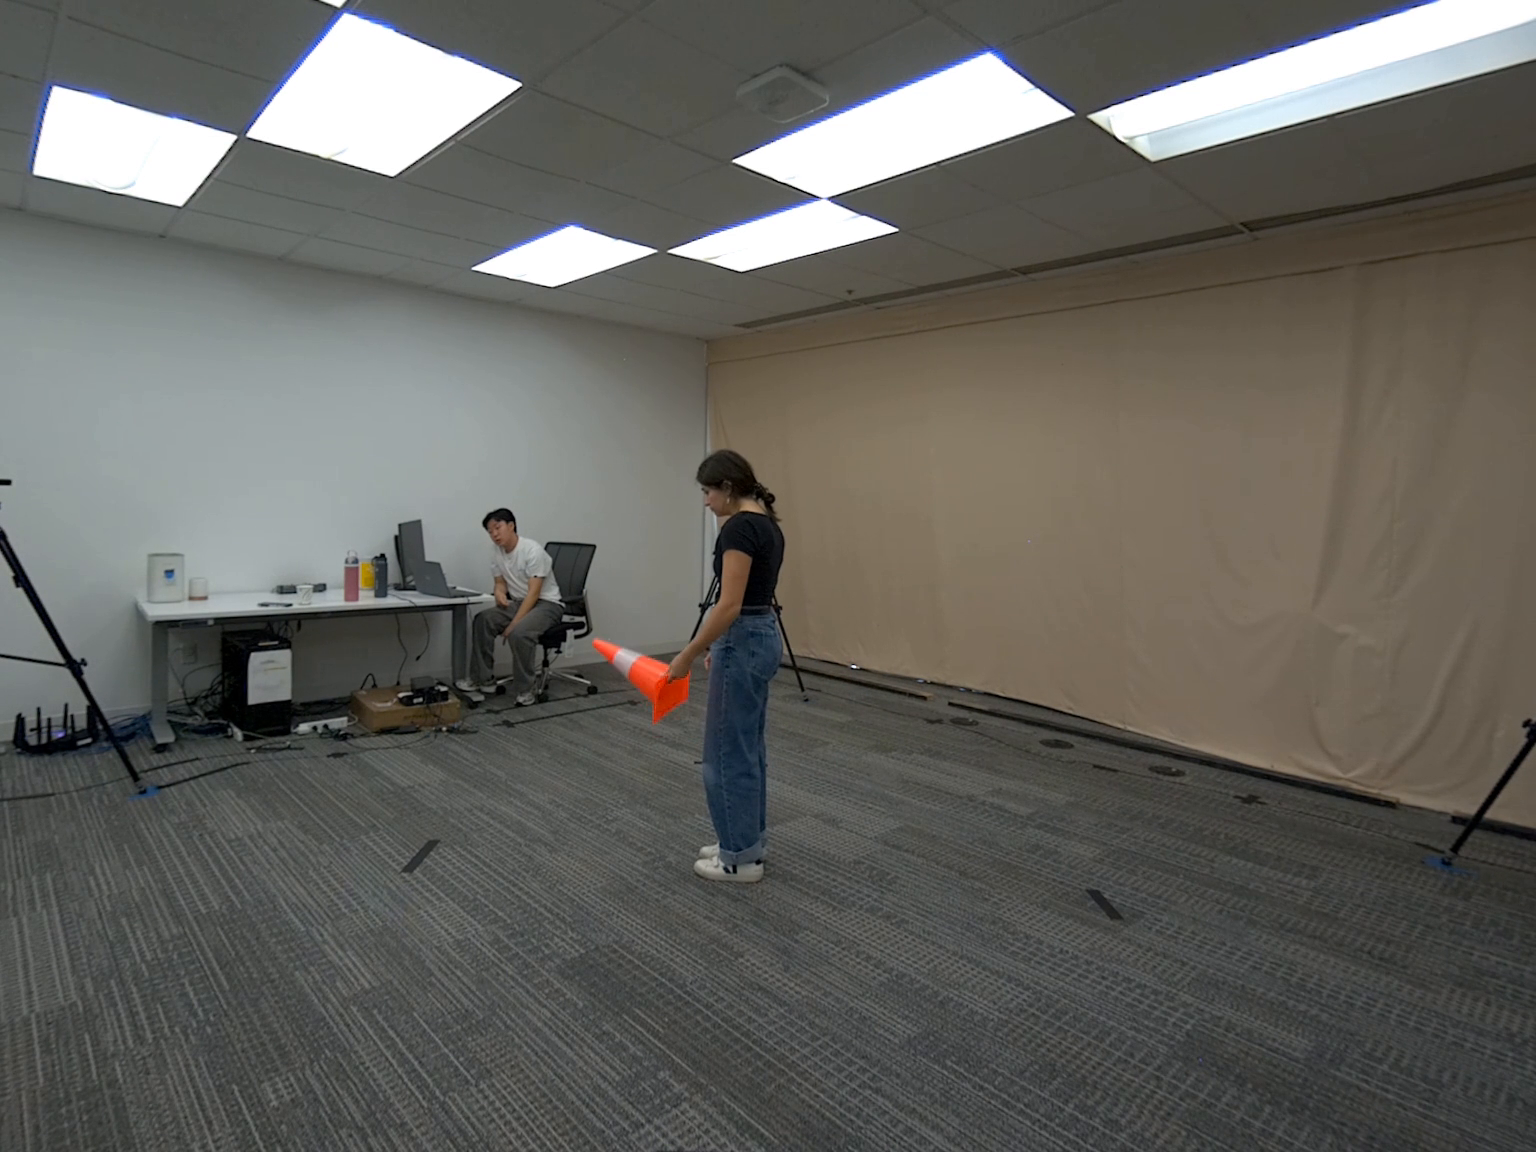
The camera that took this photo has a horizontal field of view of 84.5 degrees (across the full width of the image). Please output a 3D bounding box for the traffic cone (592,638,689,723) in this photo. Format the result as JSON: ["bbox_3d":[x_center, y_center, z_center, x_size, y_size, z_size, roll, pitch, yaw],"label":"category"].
[{"bbox_3d":[-0.489,0.327,3.066,0.393,0.202,0.202,26,35,25],"label":"traffic cone"}]
